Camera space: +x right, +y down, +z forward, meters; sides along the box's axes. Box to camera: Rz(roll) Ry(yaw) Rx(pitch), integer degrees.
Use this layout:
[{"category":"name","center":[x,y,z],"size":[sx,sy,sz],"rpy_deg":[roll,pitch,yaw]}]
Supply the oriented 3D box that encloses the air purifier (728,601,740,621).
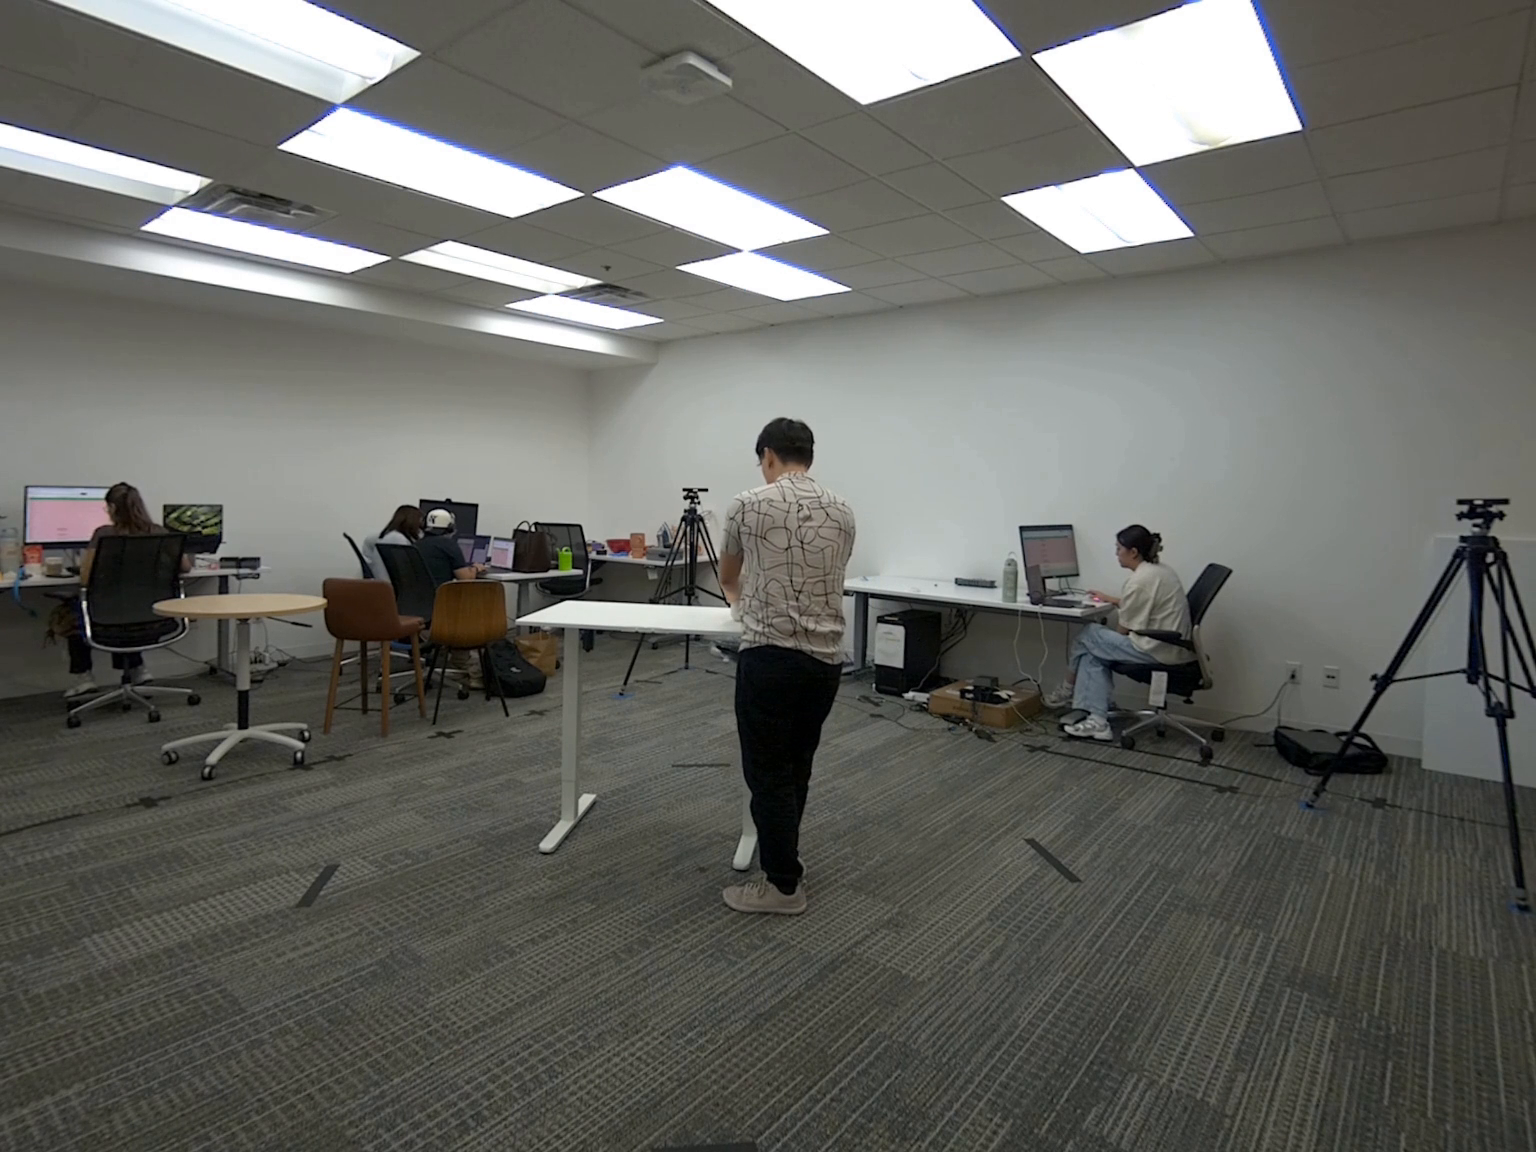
[{"category":"air purifier","center":[-0.057,0.038,3.332],"size":[0.174,0.264,0.169],"rpy_deg":[1,4,14]}]
